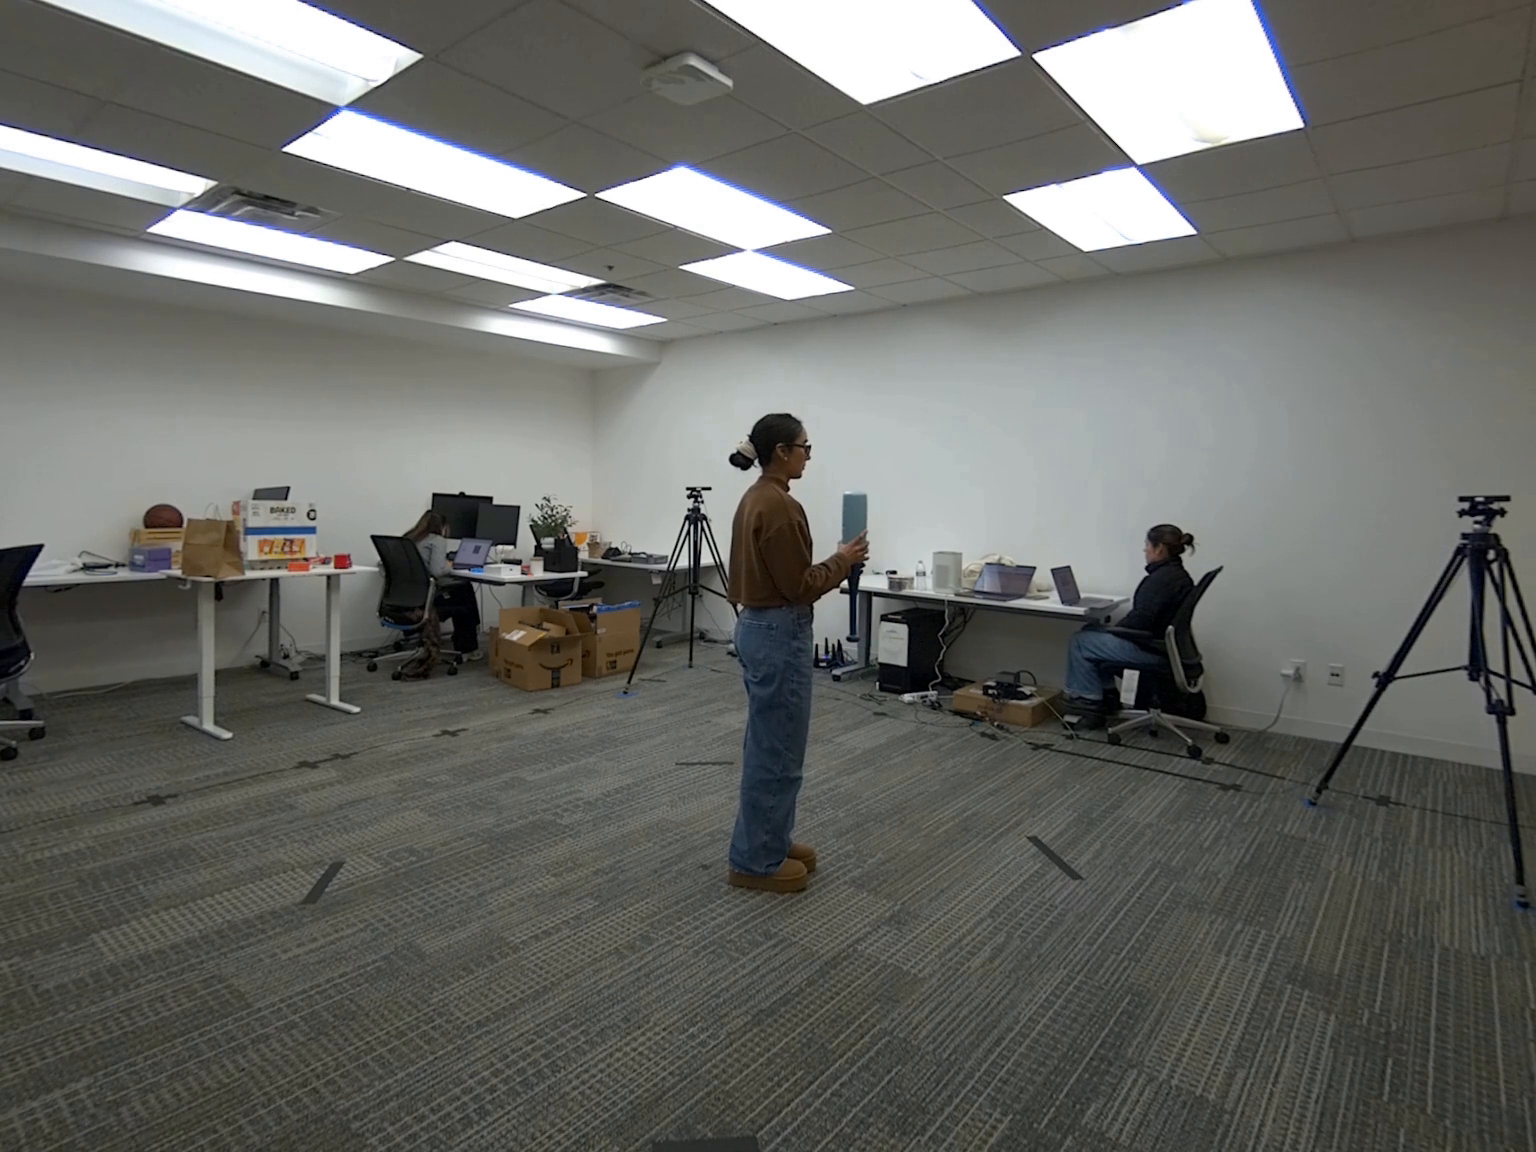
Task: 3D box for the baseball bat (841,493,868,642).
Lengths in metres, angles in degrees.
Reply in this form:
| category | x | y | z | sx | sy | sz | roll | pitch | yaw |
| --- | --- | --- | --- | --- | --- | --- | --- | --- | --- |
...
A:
| category | x | y | z | sx | sy | sz | roll | pitch | yaw |
| --- | --- | --- | --- | --- | --- | --- | --- | --- | --- |
| baseball bat | 0.303 | -0.033 | 3.051 | 0.089 | 0.539 | 0.090 | 0 | 7 | -2 |
